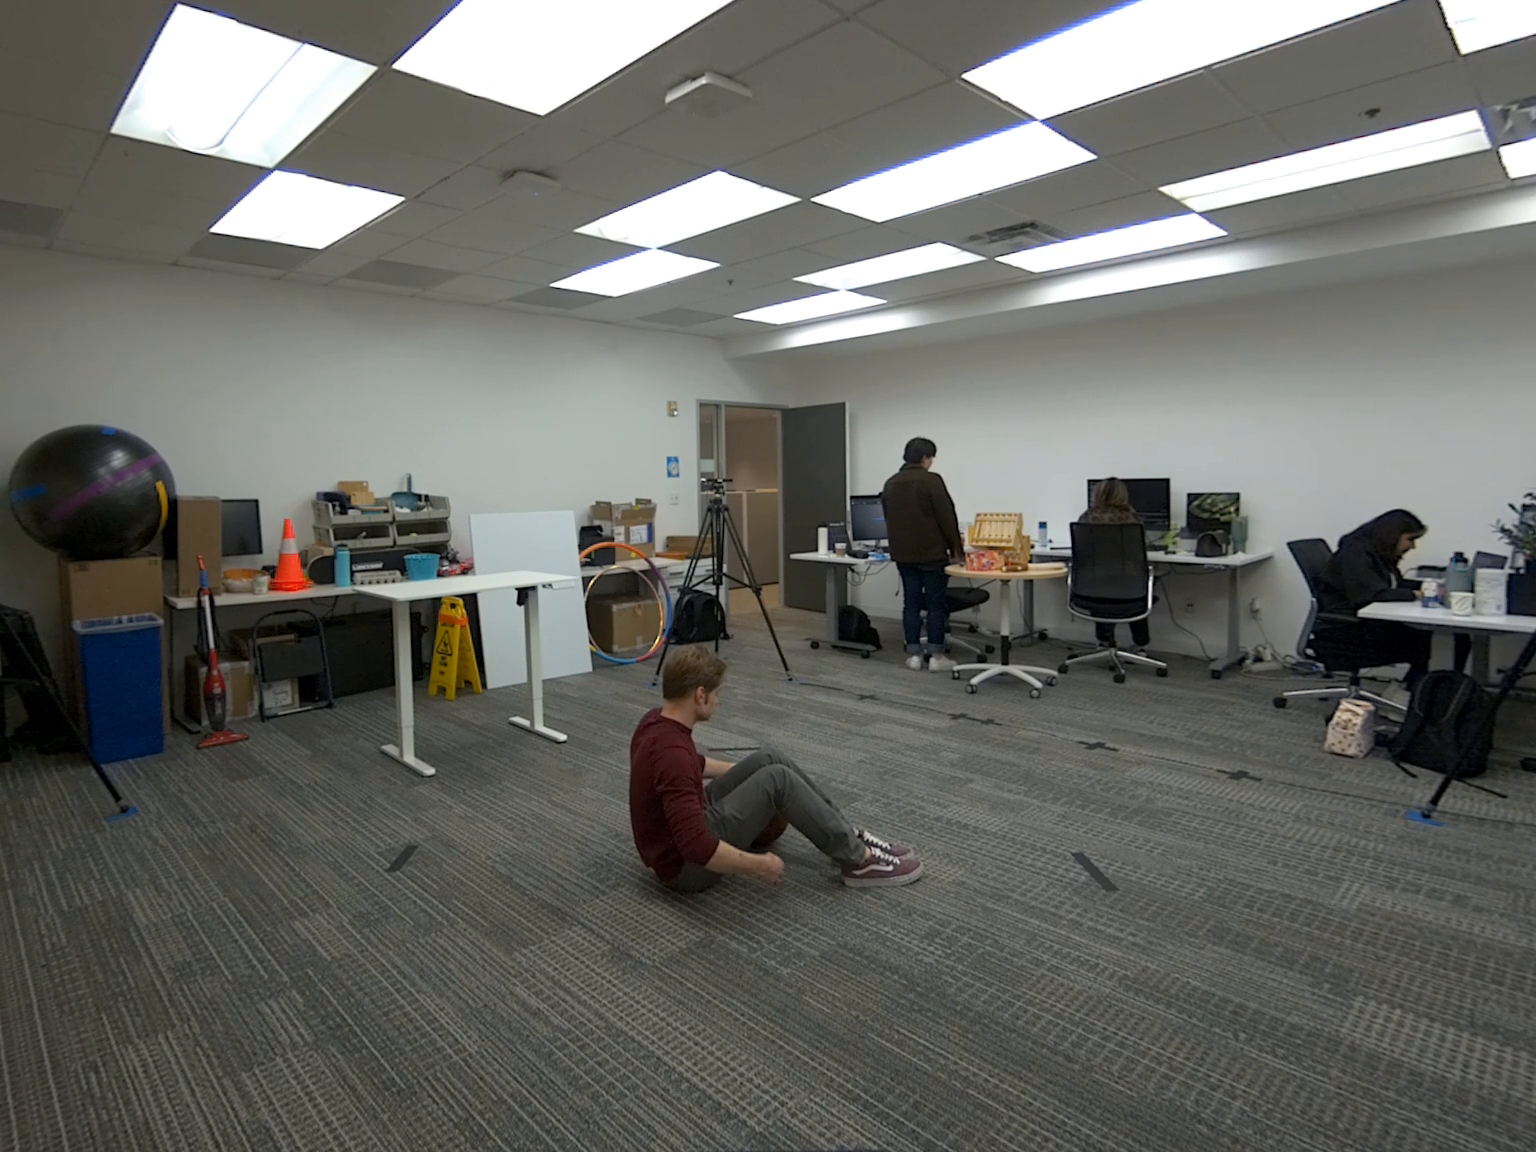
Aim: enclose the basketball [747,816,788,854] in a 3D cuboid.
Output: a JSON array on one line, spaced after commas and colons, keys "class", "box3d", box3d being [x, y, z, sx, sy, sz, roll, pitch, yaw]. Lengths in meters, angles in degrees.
[{"class": "basketball", "box3d": [-0.023, 0.894, 3.277, 0.236, 0.235, 0.237, -1, 5, -2]}]
